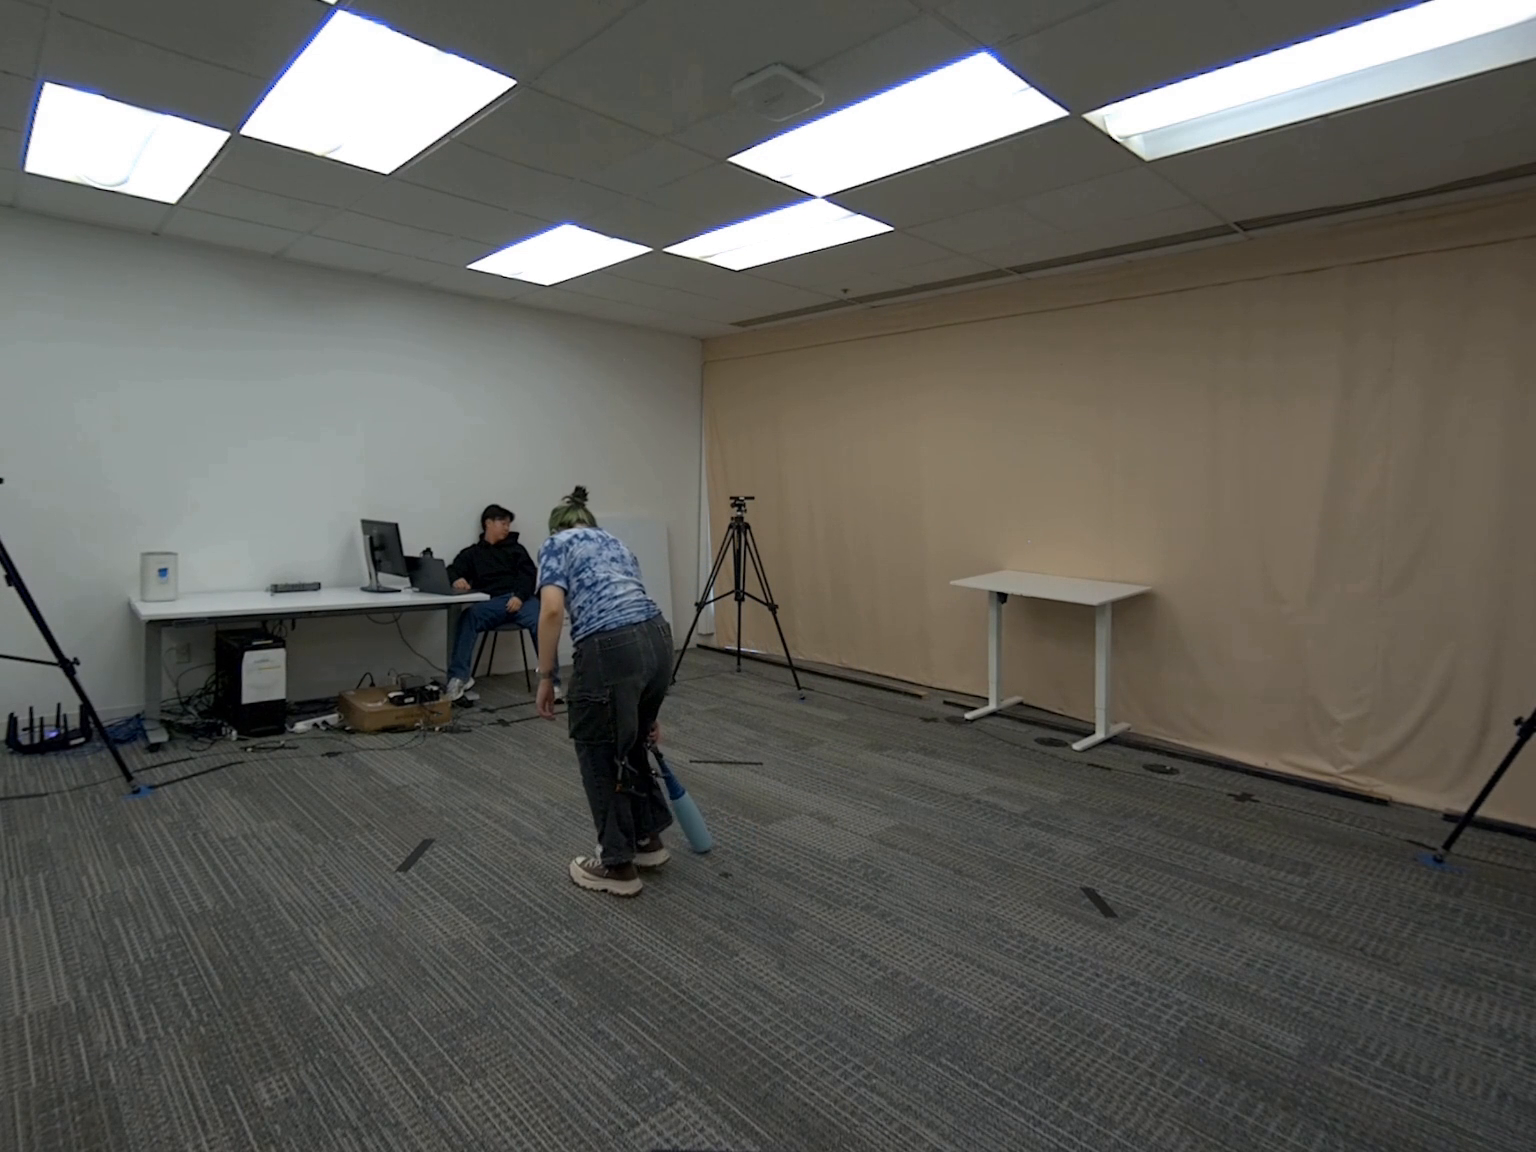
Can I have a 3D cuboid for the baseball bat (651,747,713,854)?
[{"bbox_3d":[-0.362,0.838,3.262,0.089,0.536,0.090,-23,13,5],"label":"baseball bat"}]
